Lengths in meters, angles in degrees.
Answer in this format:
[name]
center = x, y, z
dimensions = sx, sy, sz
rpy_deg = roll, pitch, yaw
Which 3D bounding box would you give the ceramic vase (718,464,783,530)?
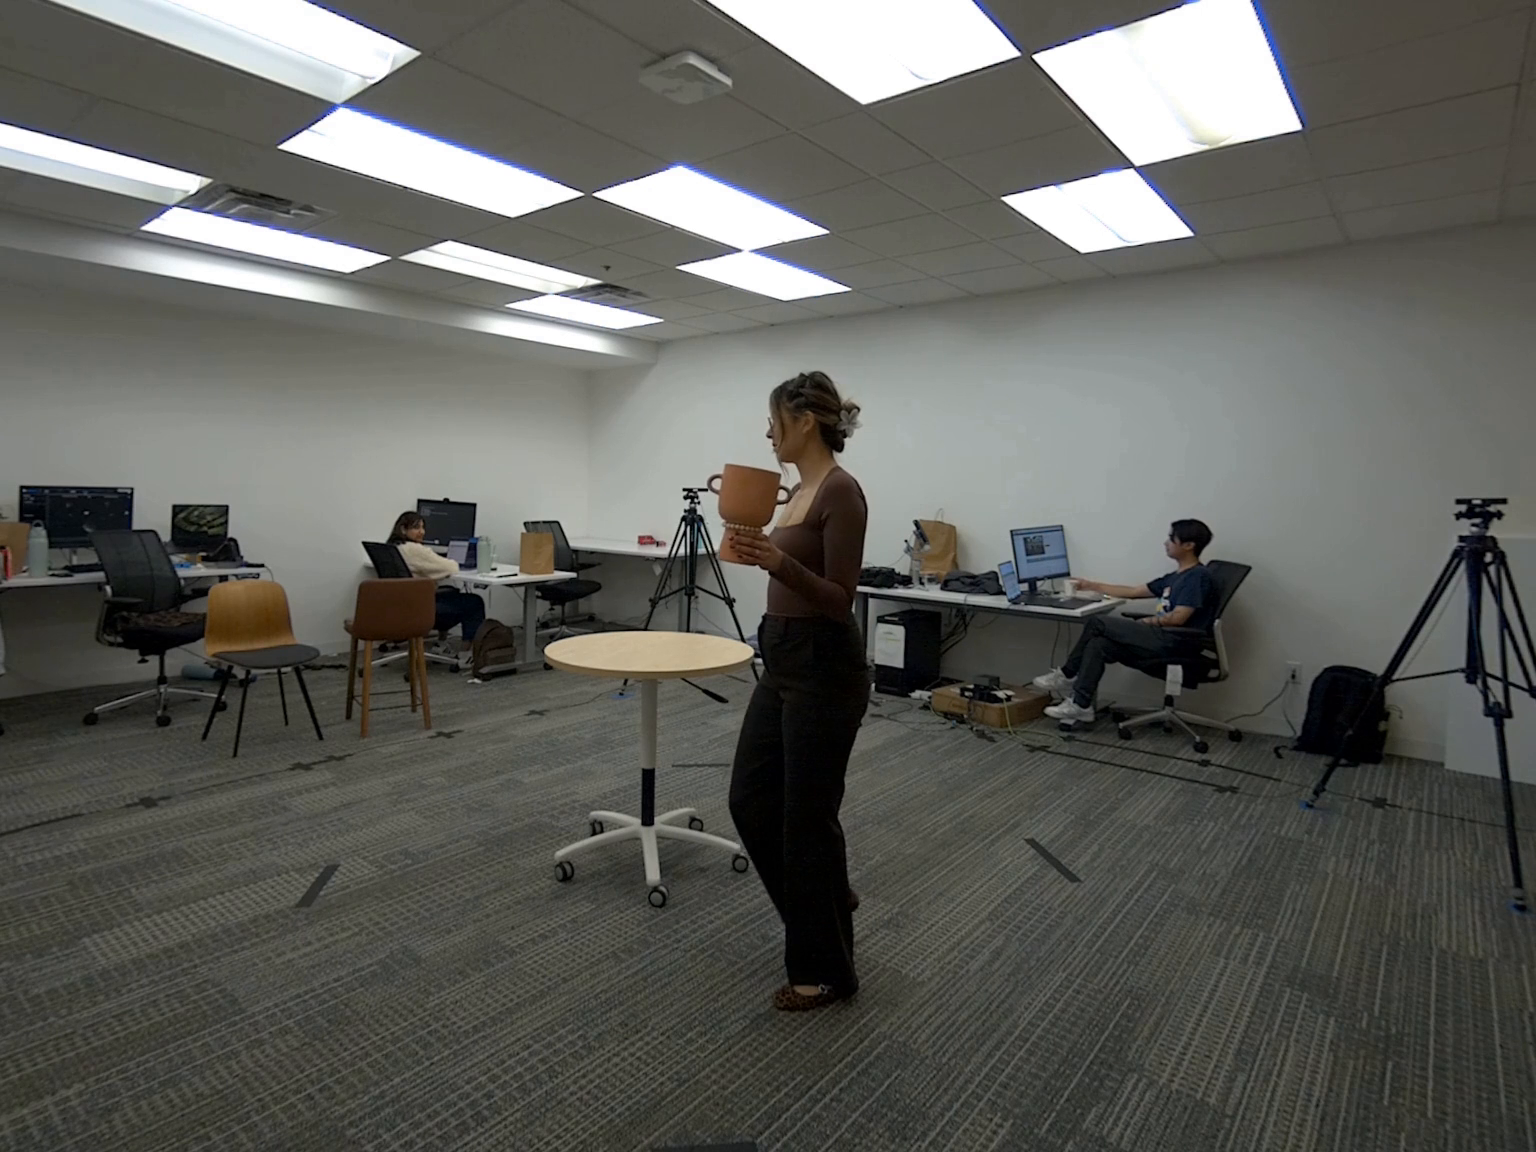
[ceramic vase]
center = -0.053, -0.144, 1.969
dimensions = 0.165, 0.219, 0.130
rpy_deg = 11, 3, 44
